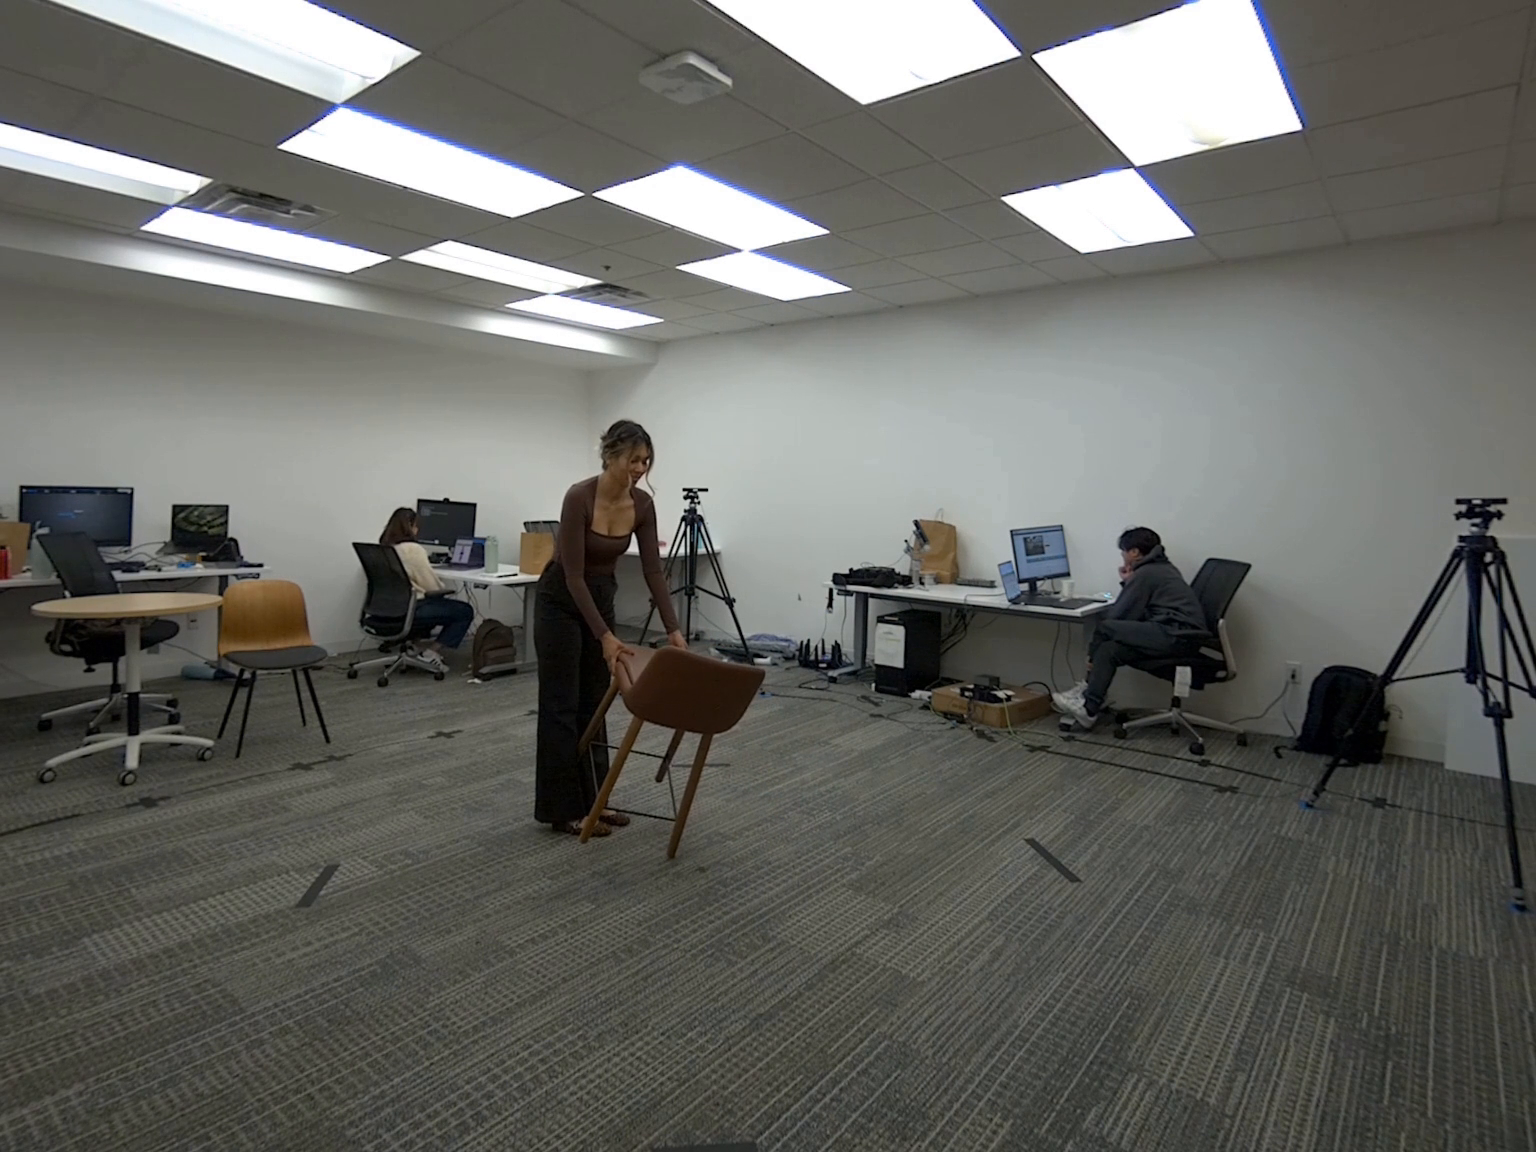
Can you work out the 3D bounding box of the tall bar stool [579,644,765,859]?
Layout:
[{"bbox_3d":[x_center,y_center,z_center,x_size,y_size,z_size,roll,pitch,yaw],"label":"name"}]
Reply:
[{"bbox_3d":[-0.409,0.547,3.195,0.445,0.882,0.483,16,22,-21],"label":"tall bar stool"}]
